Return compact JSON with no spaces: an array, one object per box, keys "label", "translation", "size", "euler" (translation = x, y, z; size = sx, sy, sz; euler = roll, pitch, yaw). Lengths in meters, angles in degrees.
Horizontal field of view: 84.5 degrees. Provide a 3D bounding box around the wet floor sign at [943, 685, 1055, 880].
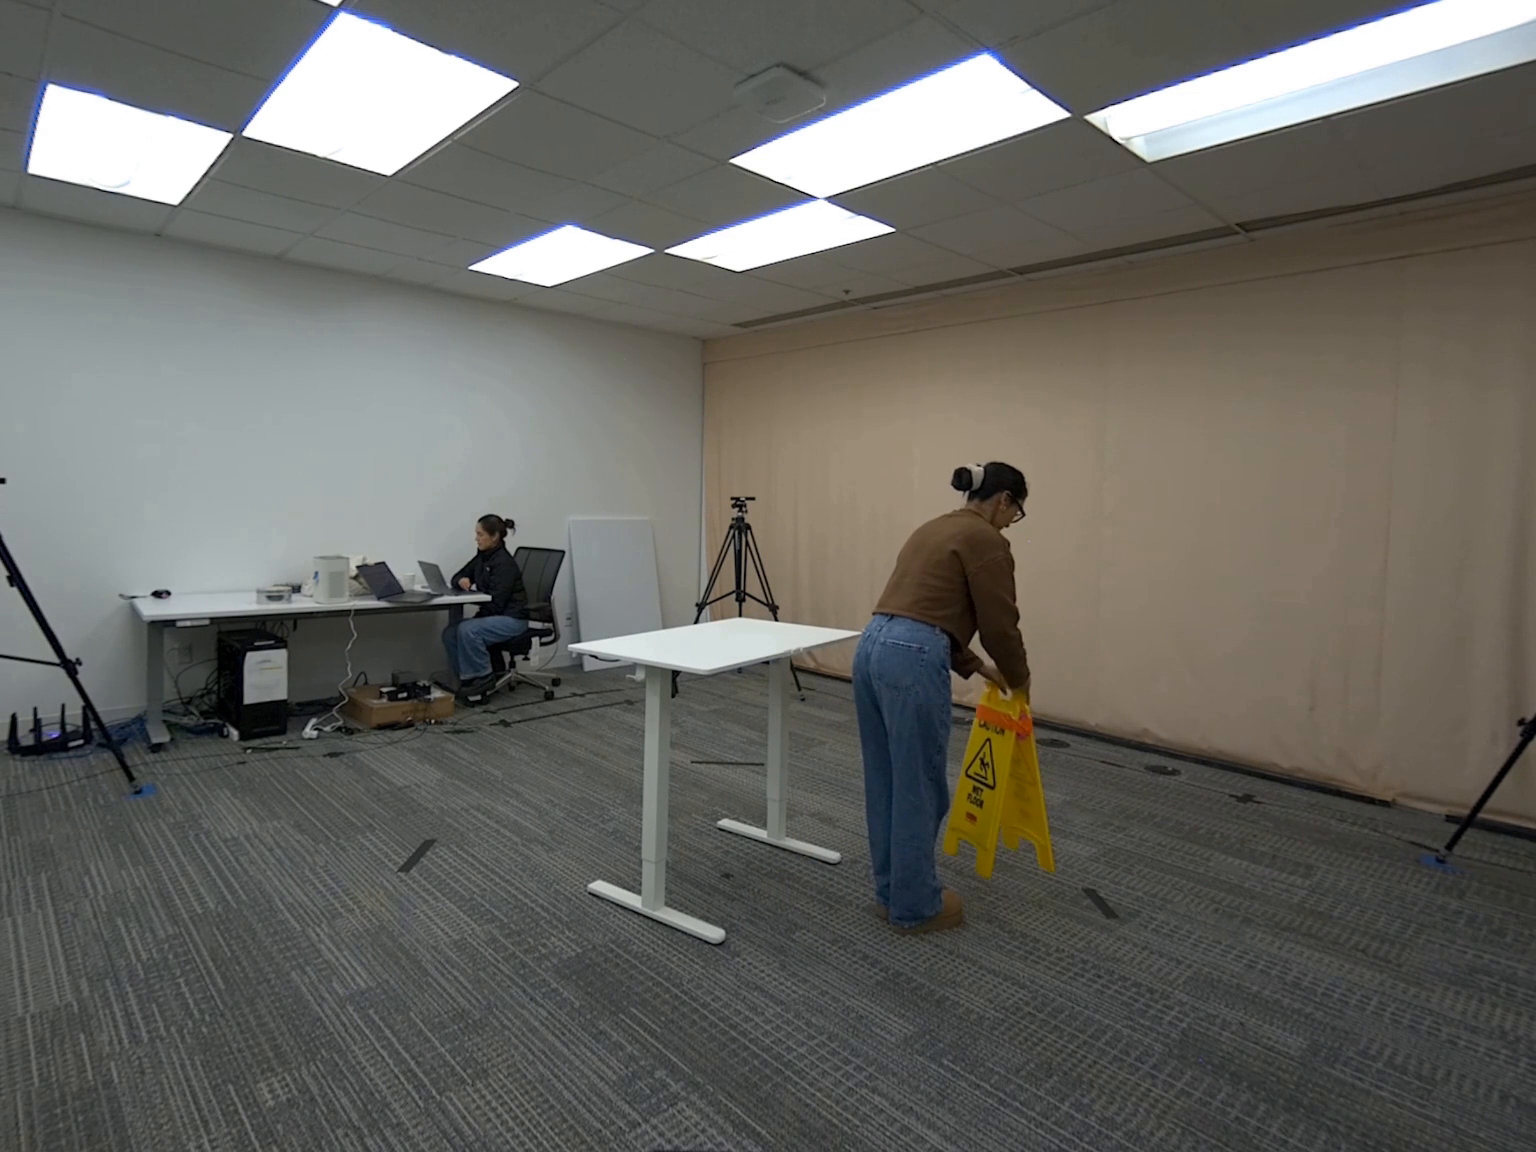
[{"label":"wet floor sign","translation":[0.812,0.676,2.946],"size":[0.286,0.646,0.286],"euler":[2,0,-18]}]
